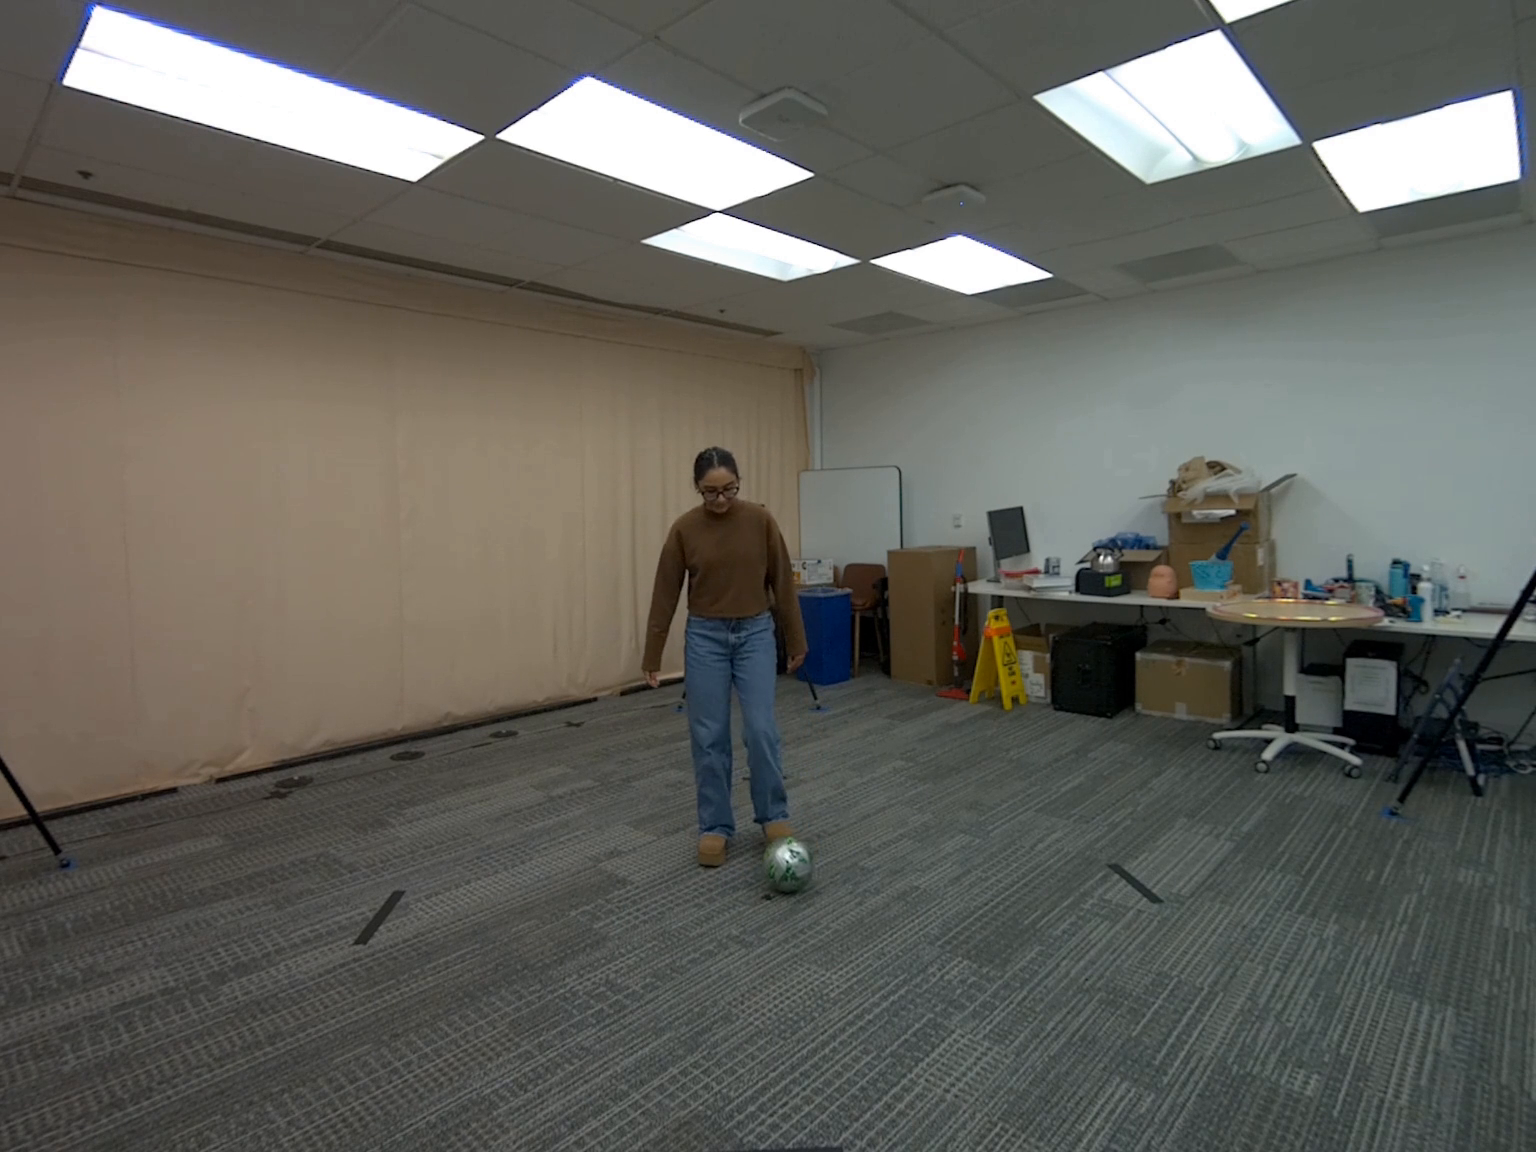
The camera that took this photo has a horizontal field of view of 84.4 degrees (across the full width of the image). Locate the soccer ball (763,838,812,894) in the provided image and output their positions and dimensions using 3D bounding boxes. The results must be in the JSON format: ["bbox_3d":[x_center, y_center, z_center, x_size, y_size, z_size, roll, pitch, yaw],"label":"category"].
[{"bbox_3d":[0.074,1.036,3.031,0.187,0.187,0.188,-1,4,-2],"label":"soccer ball"}]
